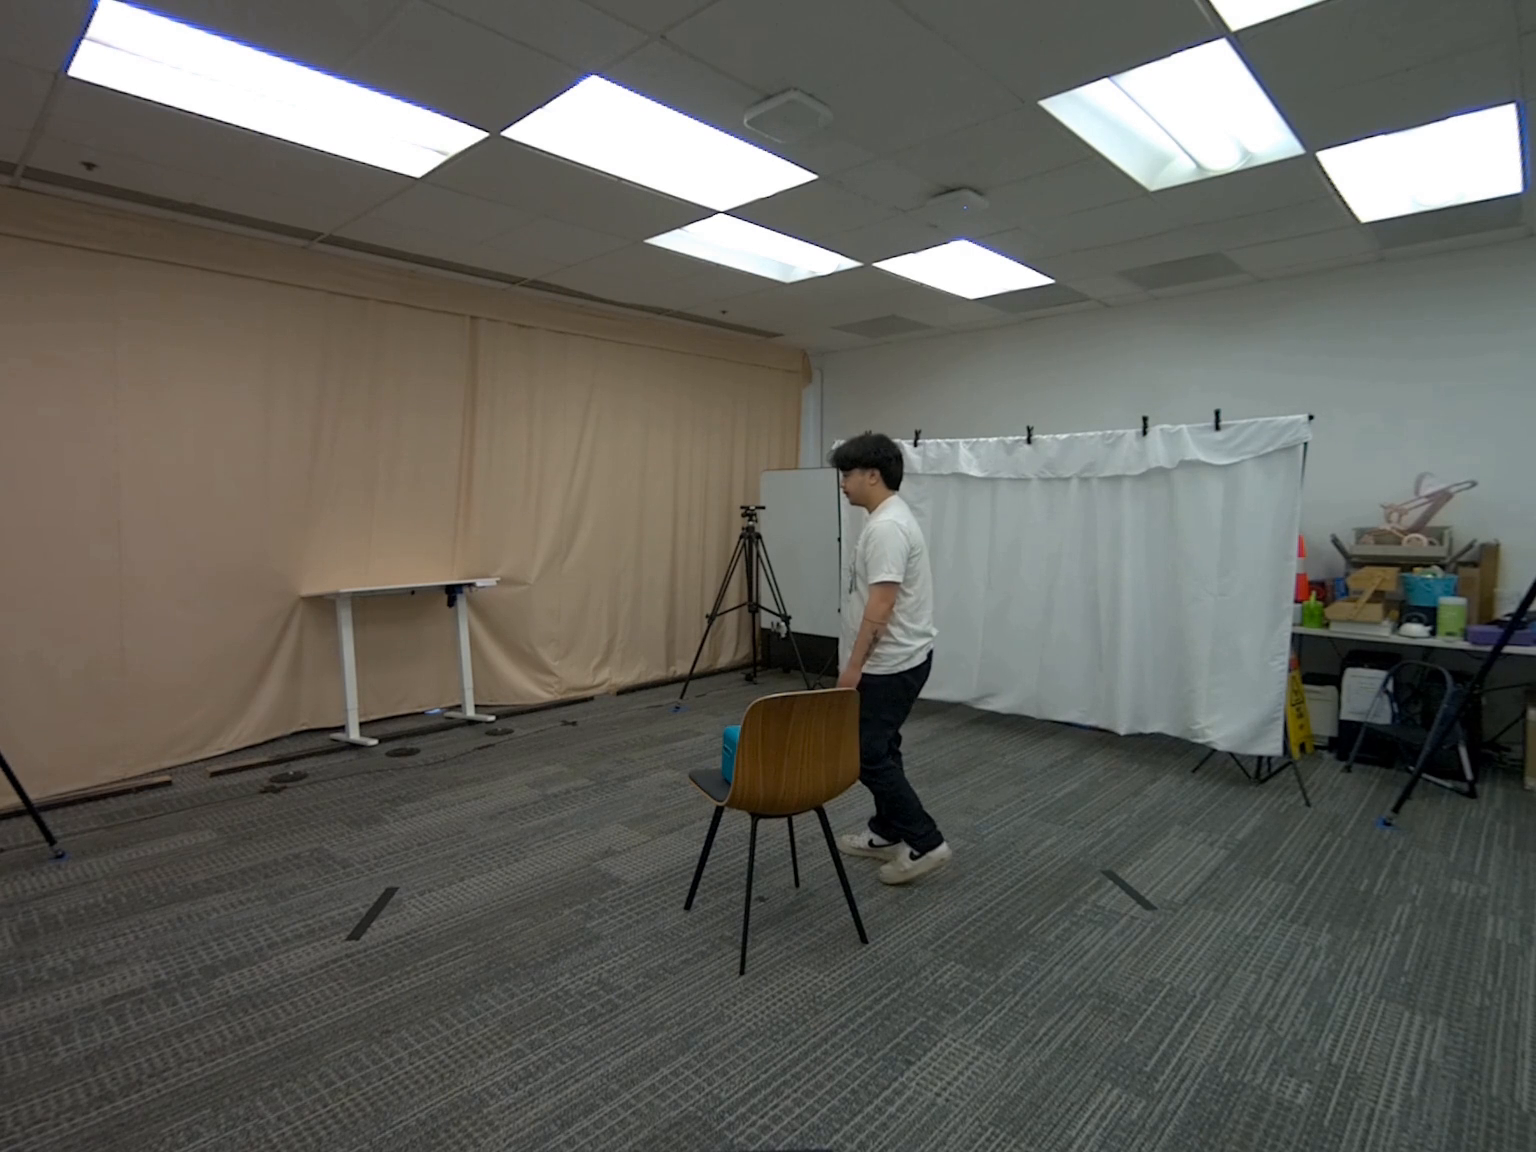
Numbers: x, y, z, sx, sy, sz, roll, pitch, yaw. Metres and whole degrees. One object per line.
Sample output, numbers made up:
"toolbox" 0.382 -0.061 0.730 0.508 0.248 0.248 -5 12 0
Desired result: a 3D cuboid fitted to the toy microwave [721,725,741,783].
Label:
"toy microwave" 0.002 0.589 2.777 0.280 0.183 0.156 -2 8 -22
